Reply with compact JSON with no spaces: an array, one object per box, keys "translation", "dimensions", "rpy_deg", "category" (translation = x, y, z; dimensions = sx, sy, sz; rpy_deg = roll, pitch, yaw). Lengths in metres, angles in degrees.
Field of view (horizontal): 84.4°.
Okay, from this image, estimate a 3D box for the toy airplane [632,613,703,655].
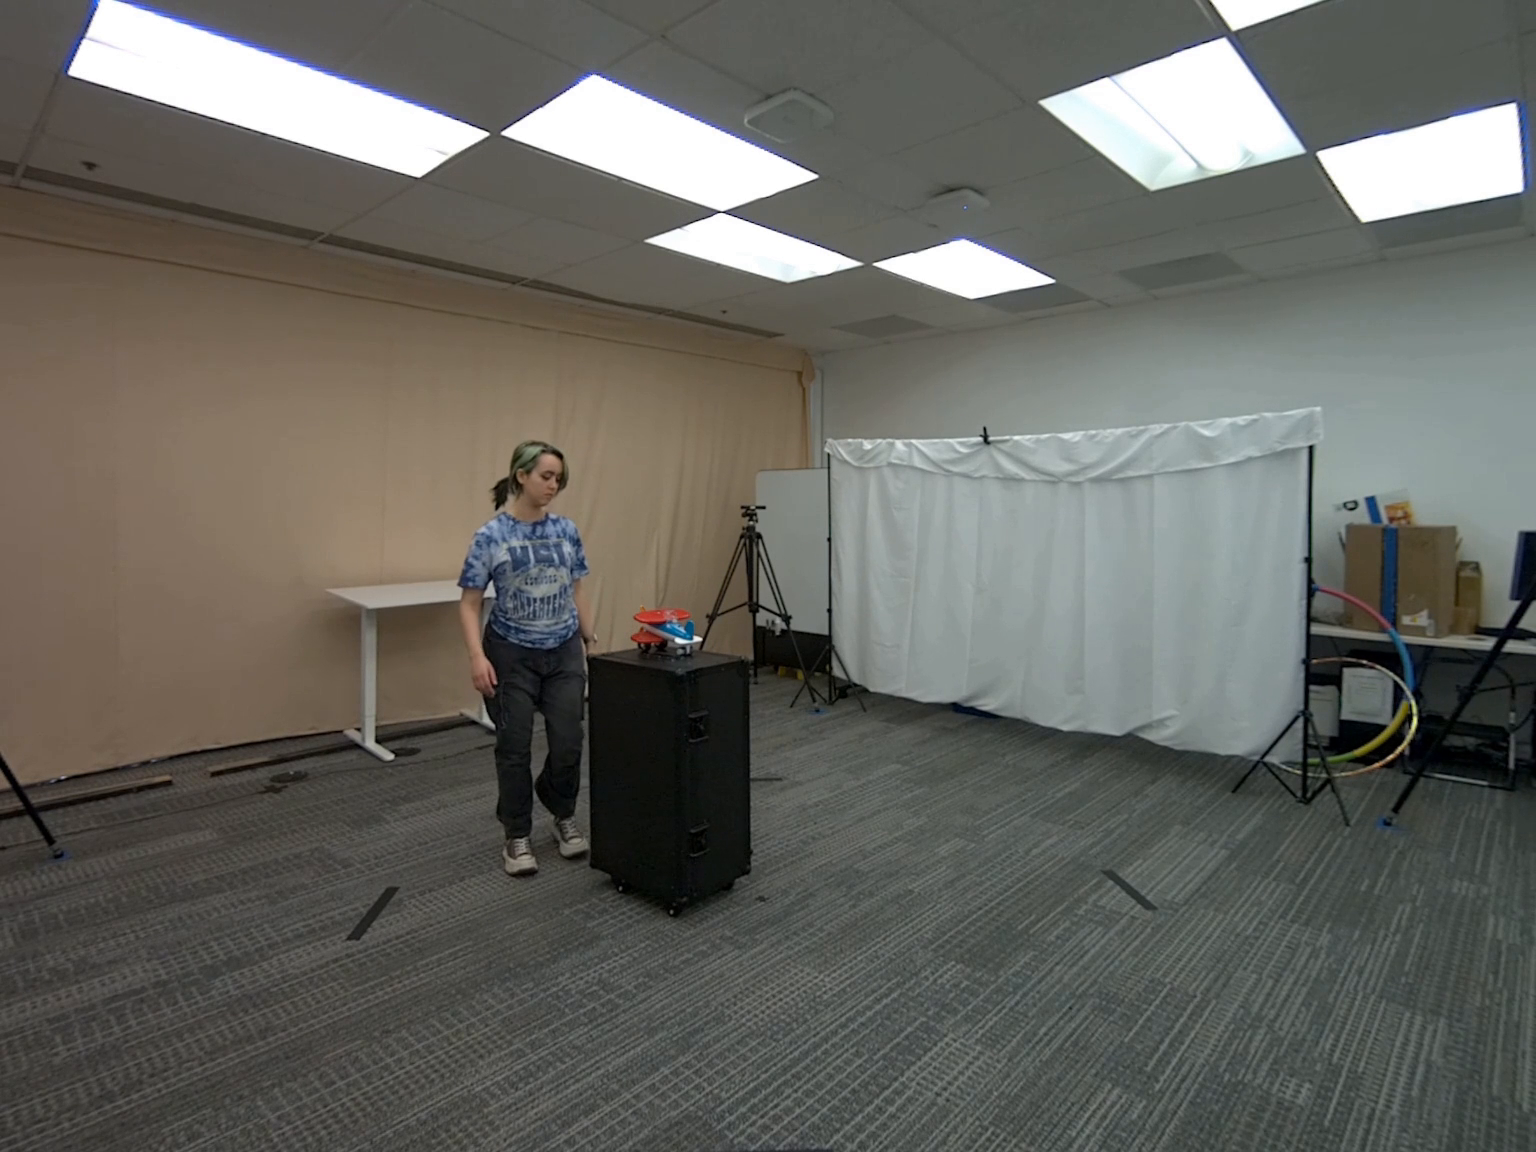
[{"translation":[-0.361,0.207,3.138],"dimensions":[0.263,0.156,0.248],"rpy_deg":[0,3,13],"category":"toy airplane"}]
